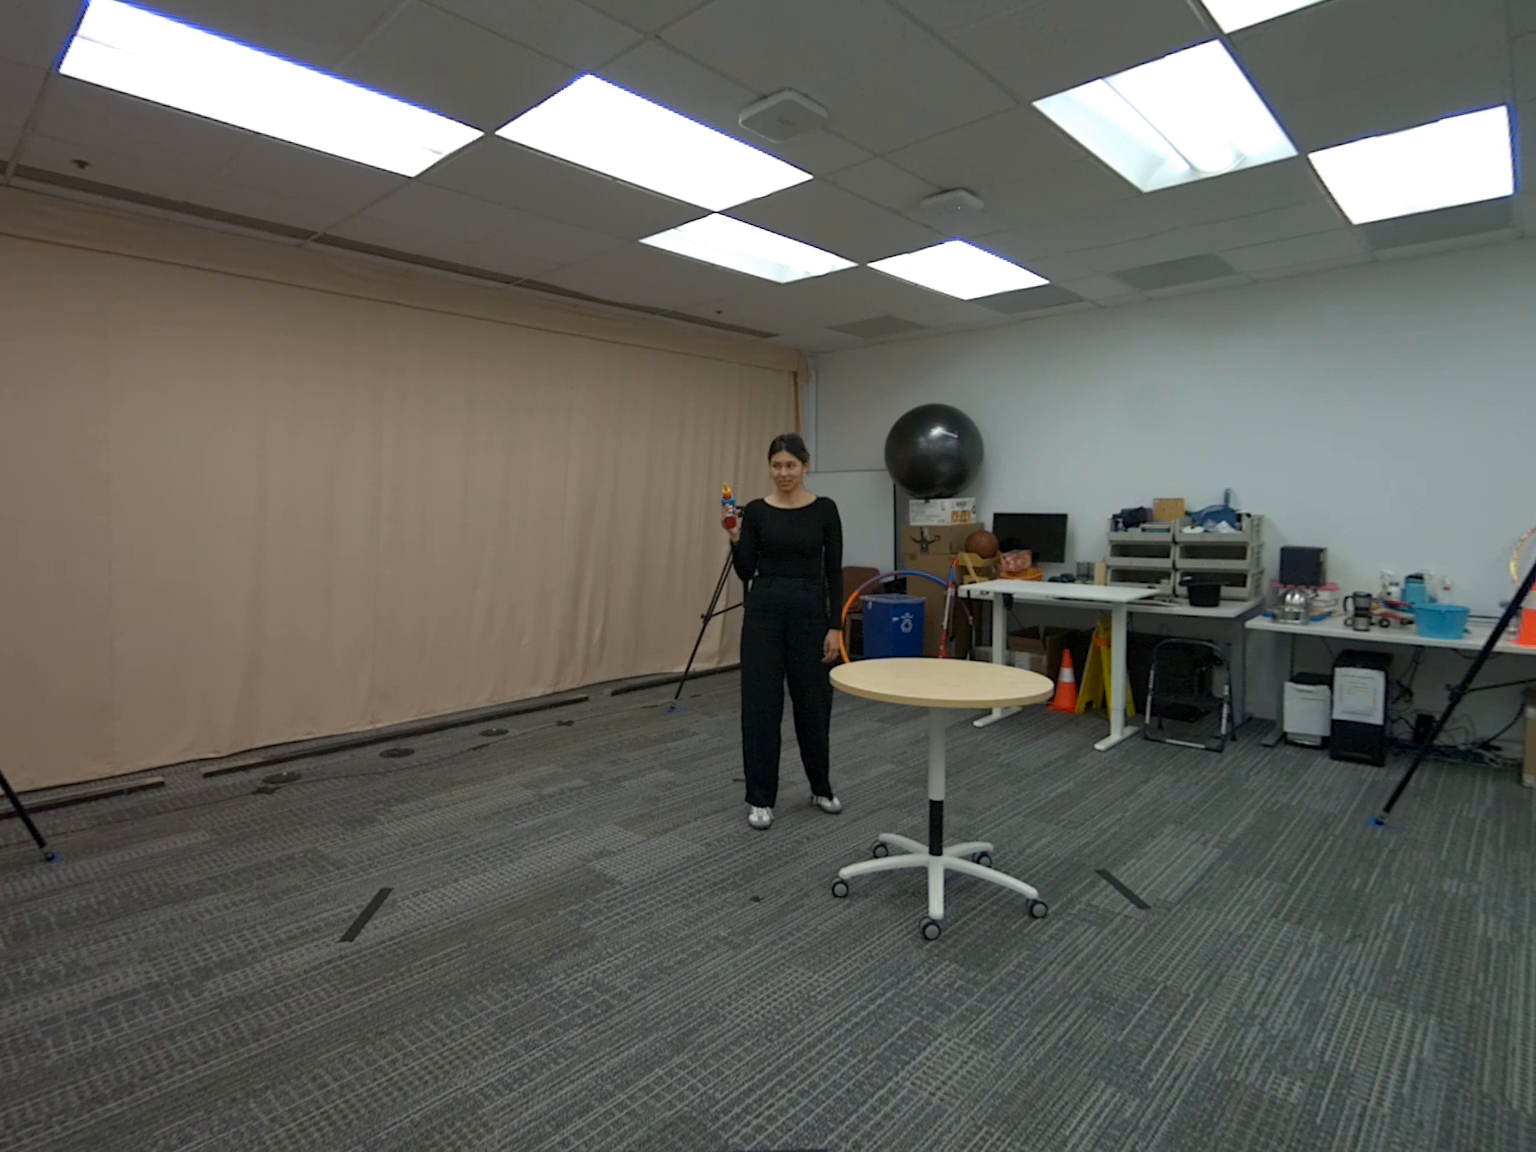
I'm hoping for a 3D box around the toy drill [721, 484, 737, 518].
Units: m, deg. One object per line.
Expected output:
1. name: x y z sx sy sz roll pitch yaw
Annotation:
1. toy drill: -0.163 -0.304 3.591 0.061 0.166 0.149 -6 44 -5
